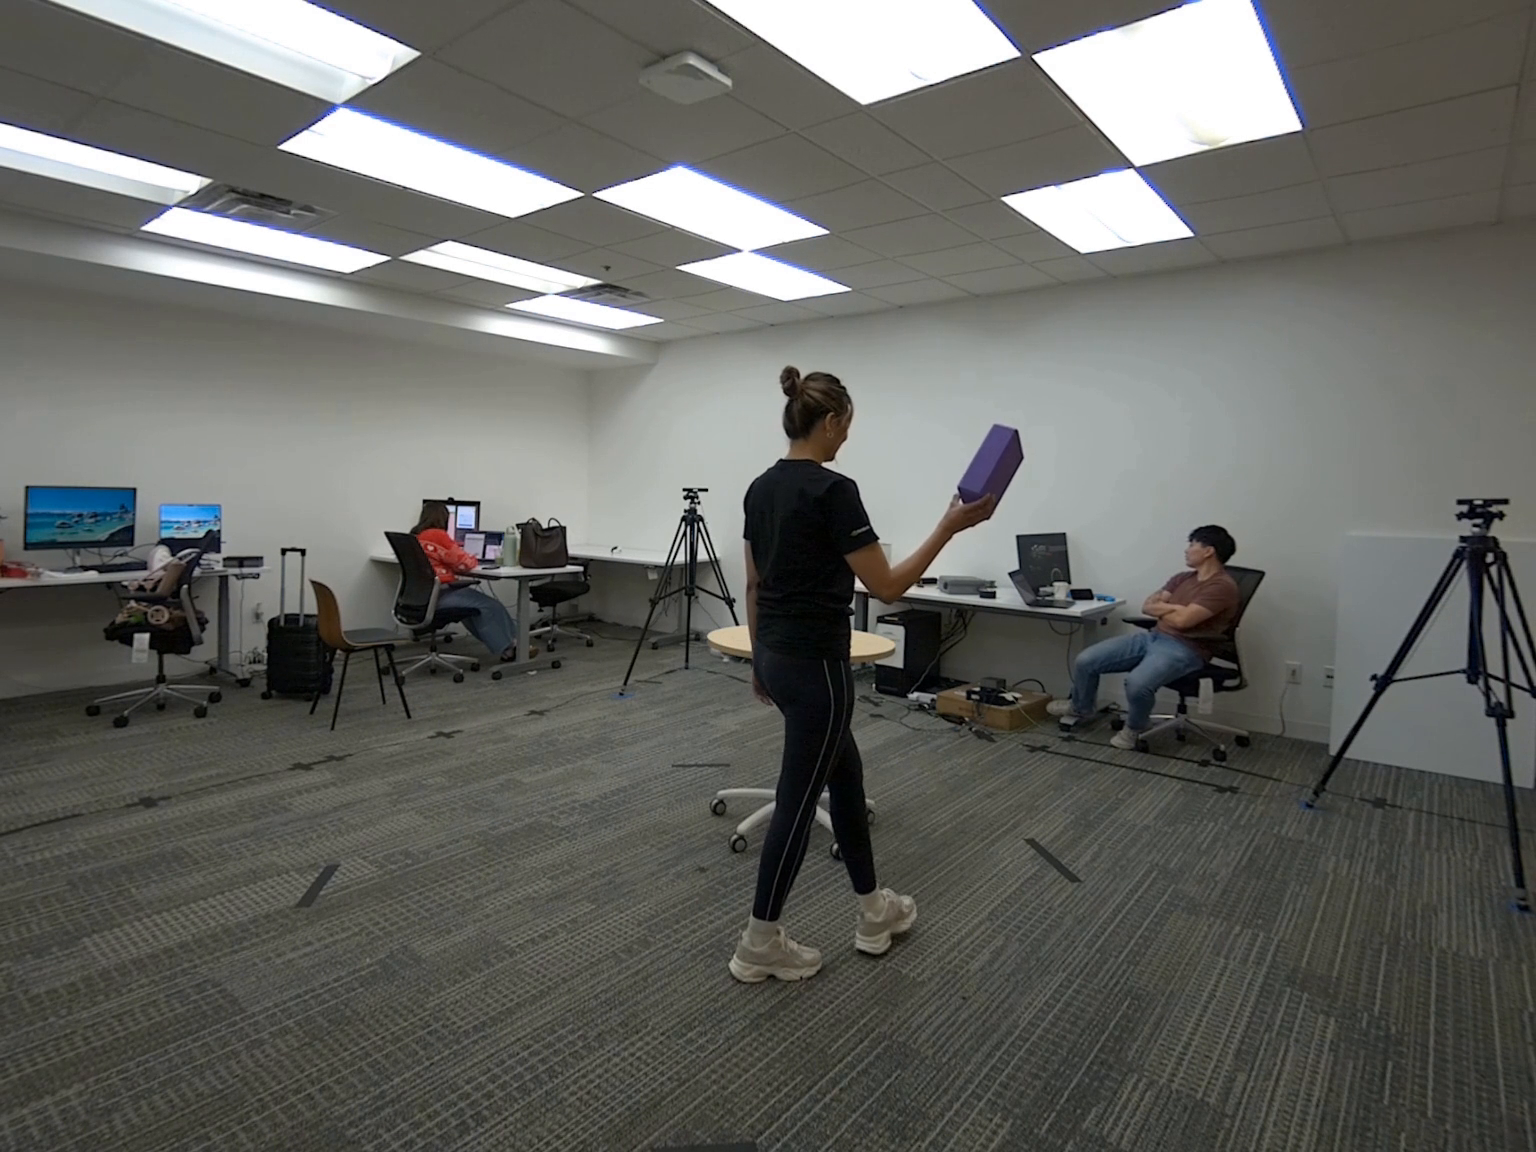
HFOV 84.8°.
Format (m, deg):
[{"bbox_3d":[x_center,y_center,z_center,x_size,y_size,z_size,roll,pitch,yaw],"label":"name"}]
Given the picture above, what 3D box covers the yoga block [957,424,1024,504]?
[{"bbox_3d":[0.615,-0.291,2.348,0.079,0.230,0.143,25,-13,33],"label":"yoga block"}]
